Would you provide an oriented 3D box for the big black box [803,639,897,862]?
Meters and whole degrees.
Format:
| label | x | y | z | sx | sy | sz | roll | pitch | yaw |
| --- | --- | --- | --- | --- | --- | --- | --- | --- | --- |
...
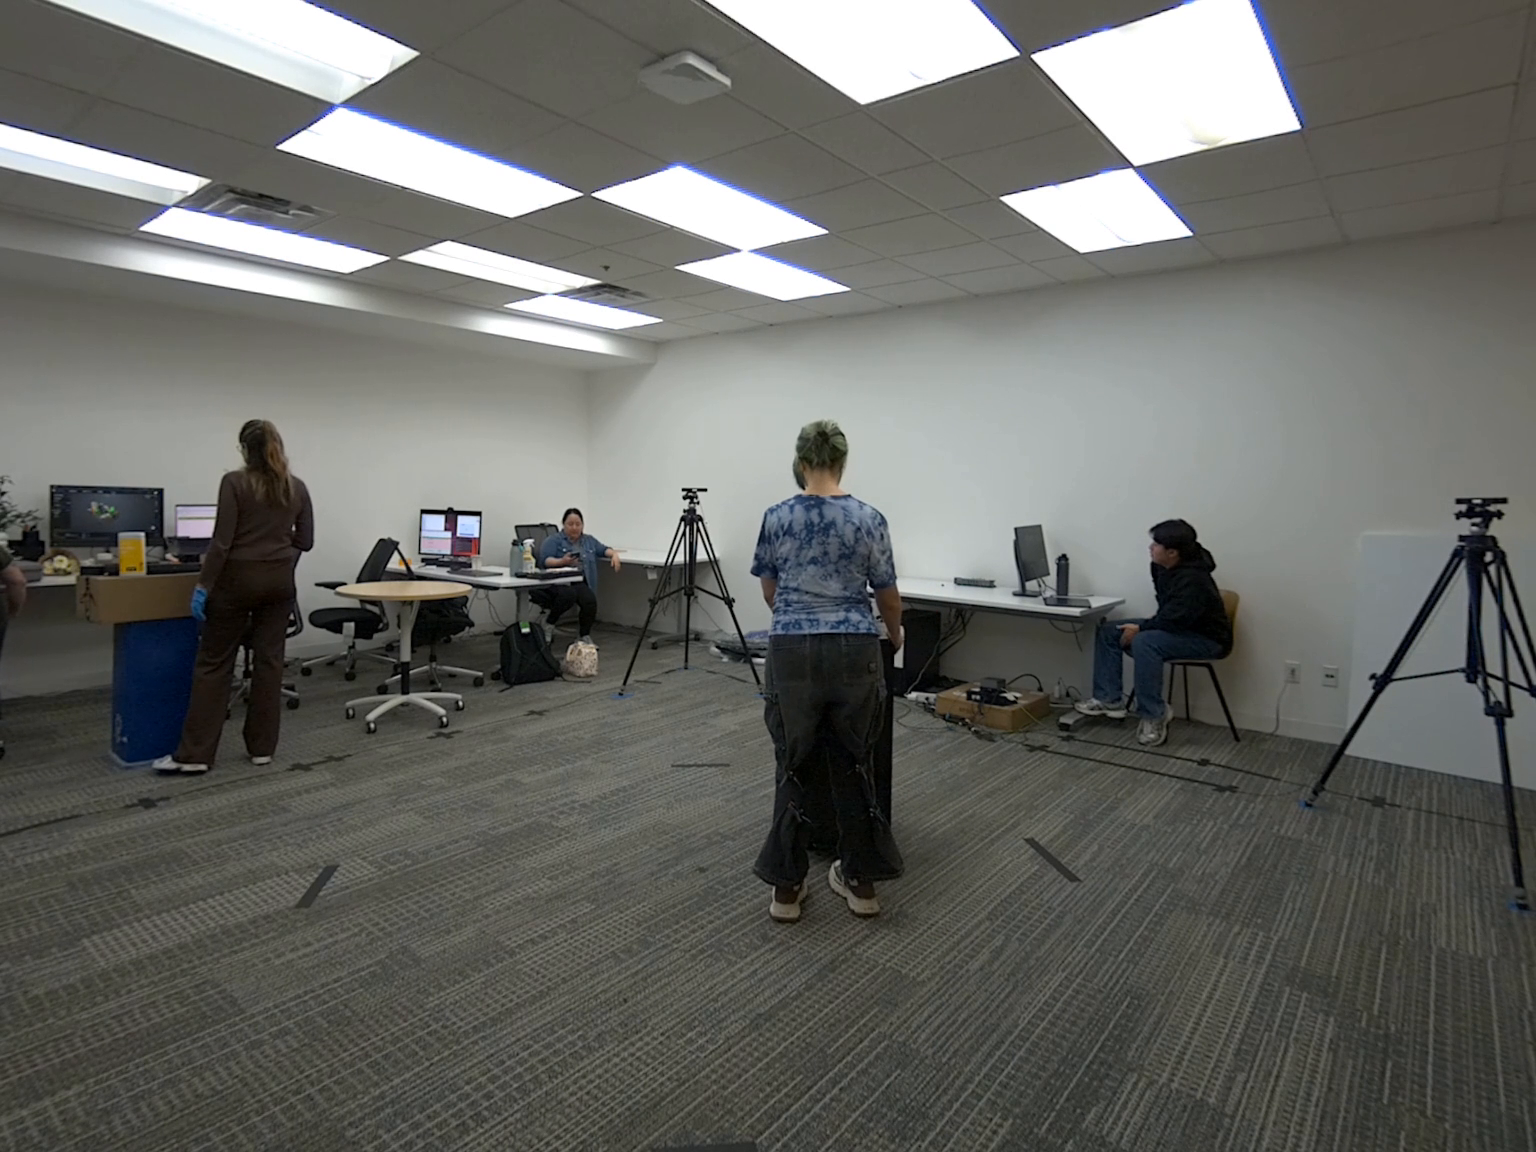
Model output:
| label | x | y | z | sx | sy | sz | roll | pitch | yaw |
| --- | --- | --- | --- | --- | --- | --- | --- | --- | --- |
| big black box | 0.284 | 0.632 | 3.382 | 0.399 | 0.859 | 0.519 | 0 | 3 | 5 |
